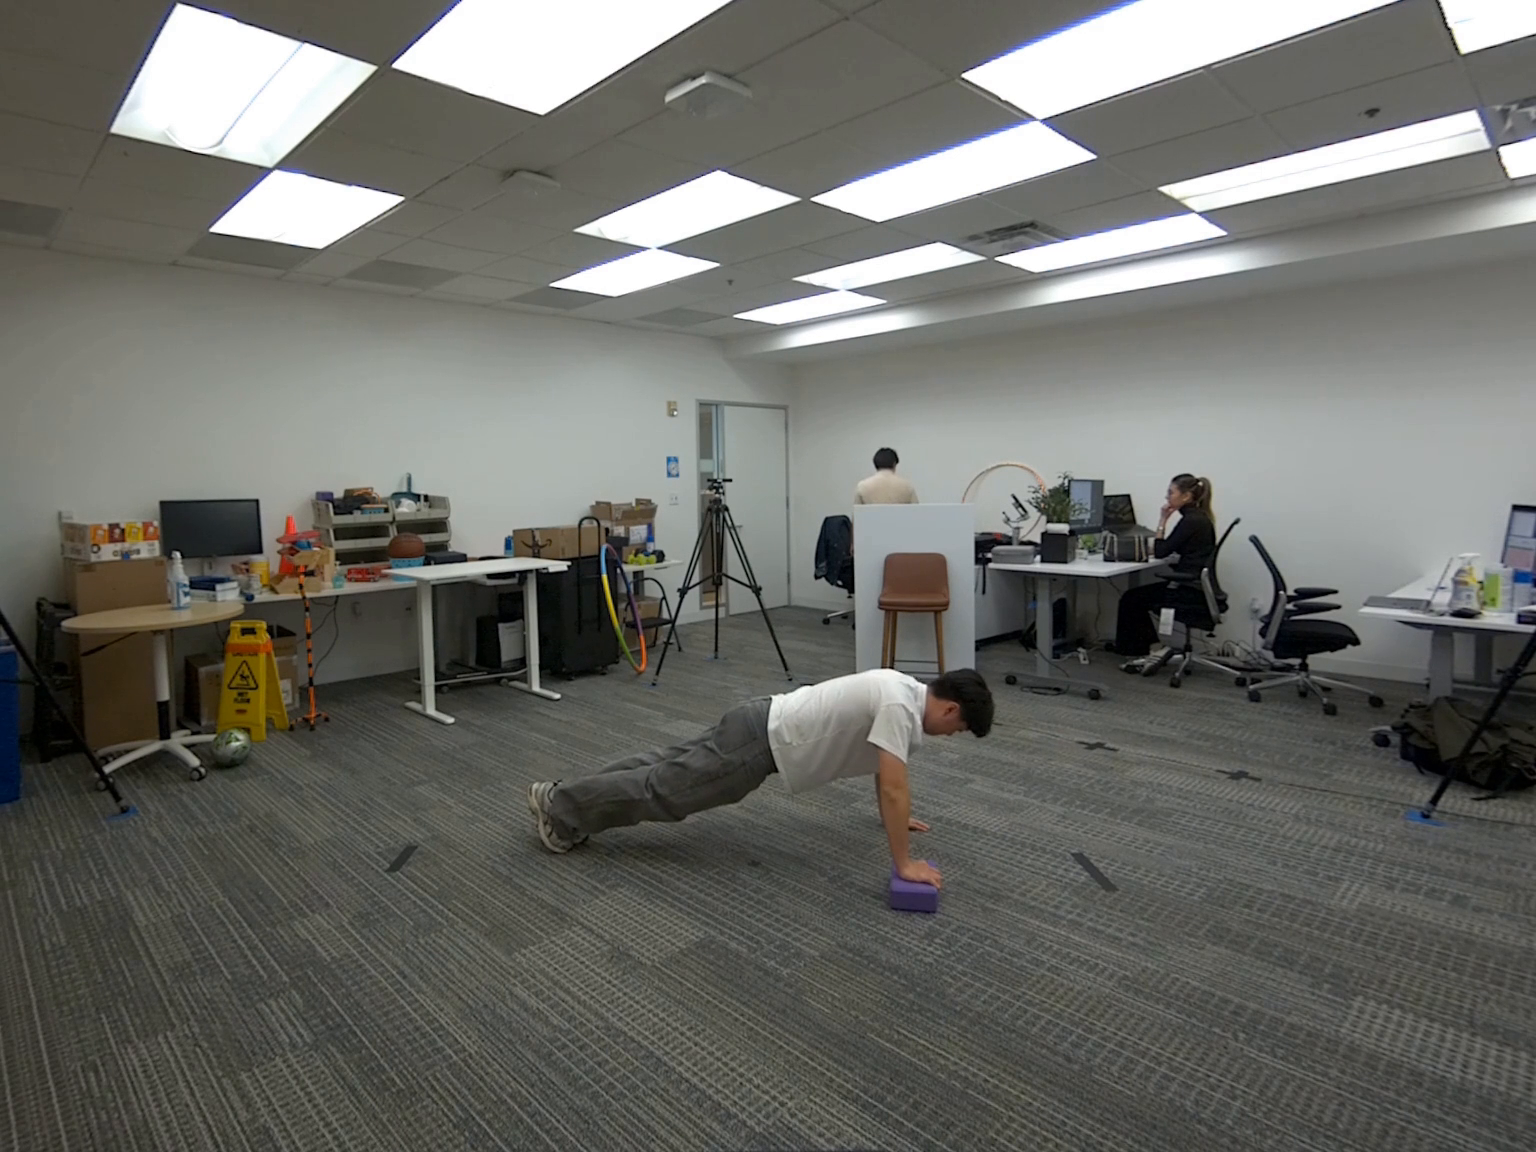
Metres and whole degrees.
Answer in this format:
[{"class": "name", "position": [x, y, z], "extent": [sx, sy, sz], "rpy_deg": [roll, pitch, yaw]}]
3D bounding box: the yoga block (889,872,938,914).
[{"class": "yoga block", "position": [0.491, 1.032, 2.851], "extent": [0.151, 0.076, 0.227], "rpy_deg": [-1, 5, 12]}]
